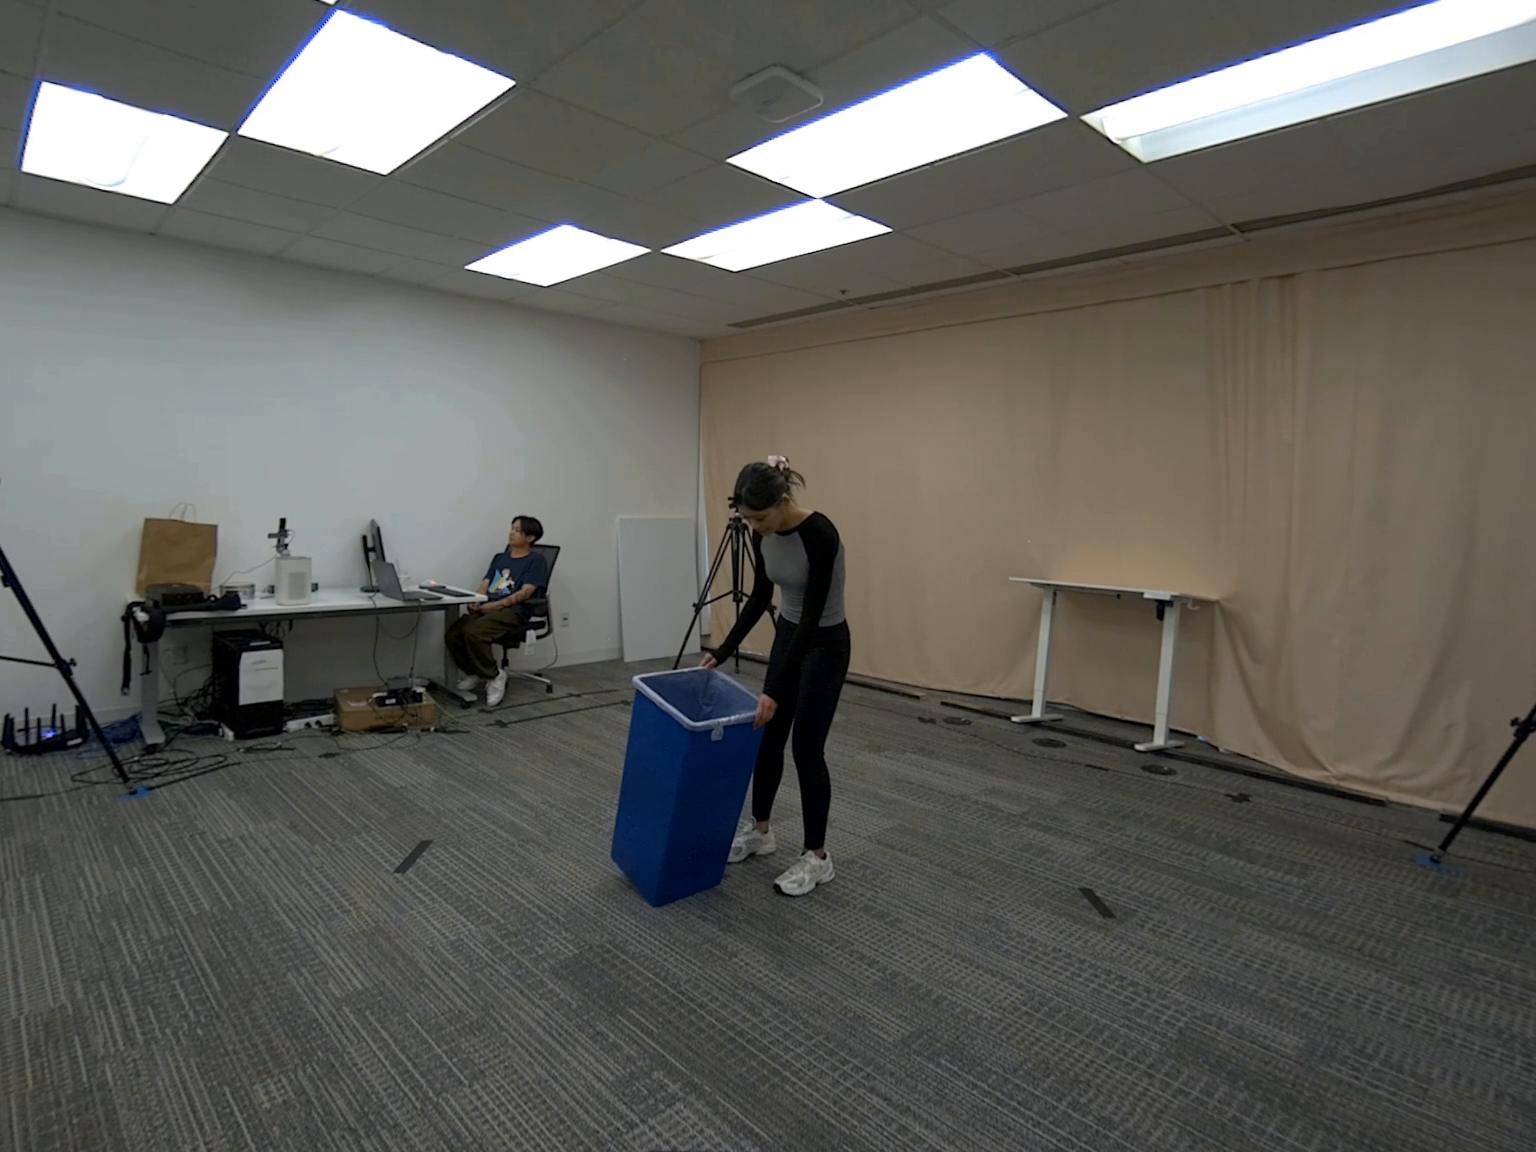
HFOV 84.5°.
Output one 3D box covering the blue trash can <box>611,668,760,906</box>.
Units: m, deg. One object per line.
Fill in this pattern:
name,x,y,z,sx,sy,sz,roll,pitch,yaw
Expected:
blue trash can,-0.305,0.732,2.958,0.369,0.708,0.386,-1,20,-42
